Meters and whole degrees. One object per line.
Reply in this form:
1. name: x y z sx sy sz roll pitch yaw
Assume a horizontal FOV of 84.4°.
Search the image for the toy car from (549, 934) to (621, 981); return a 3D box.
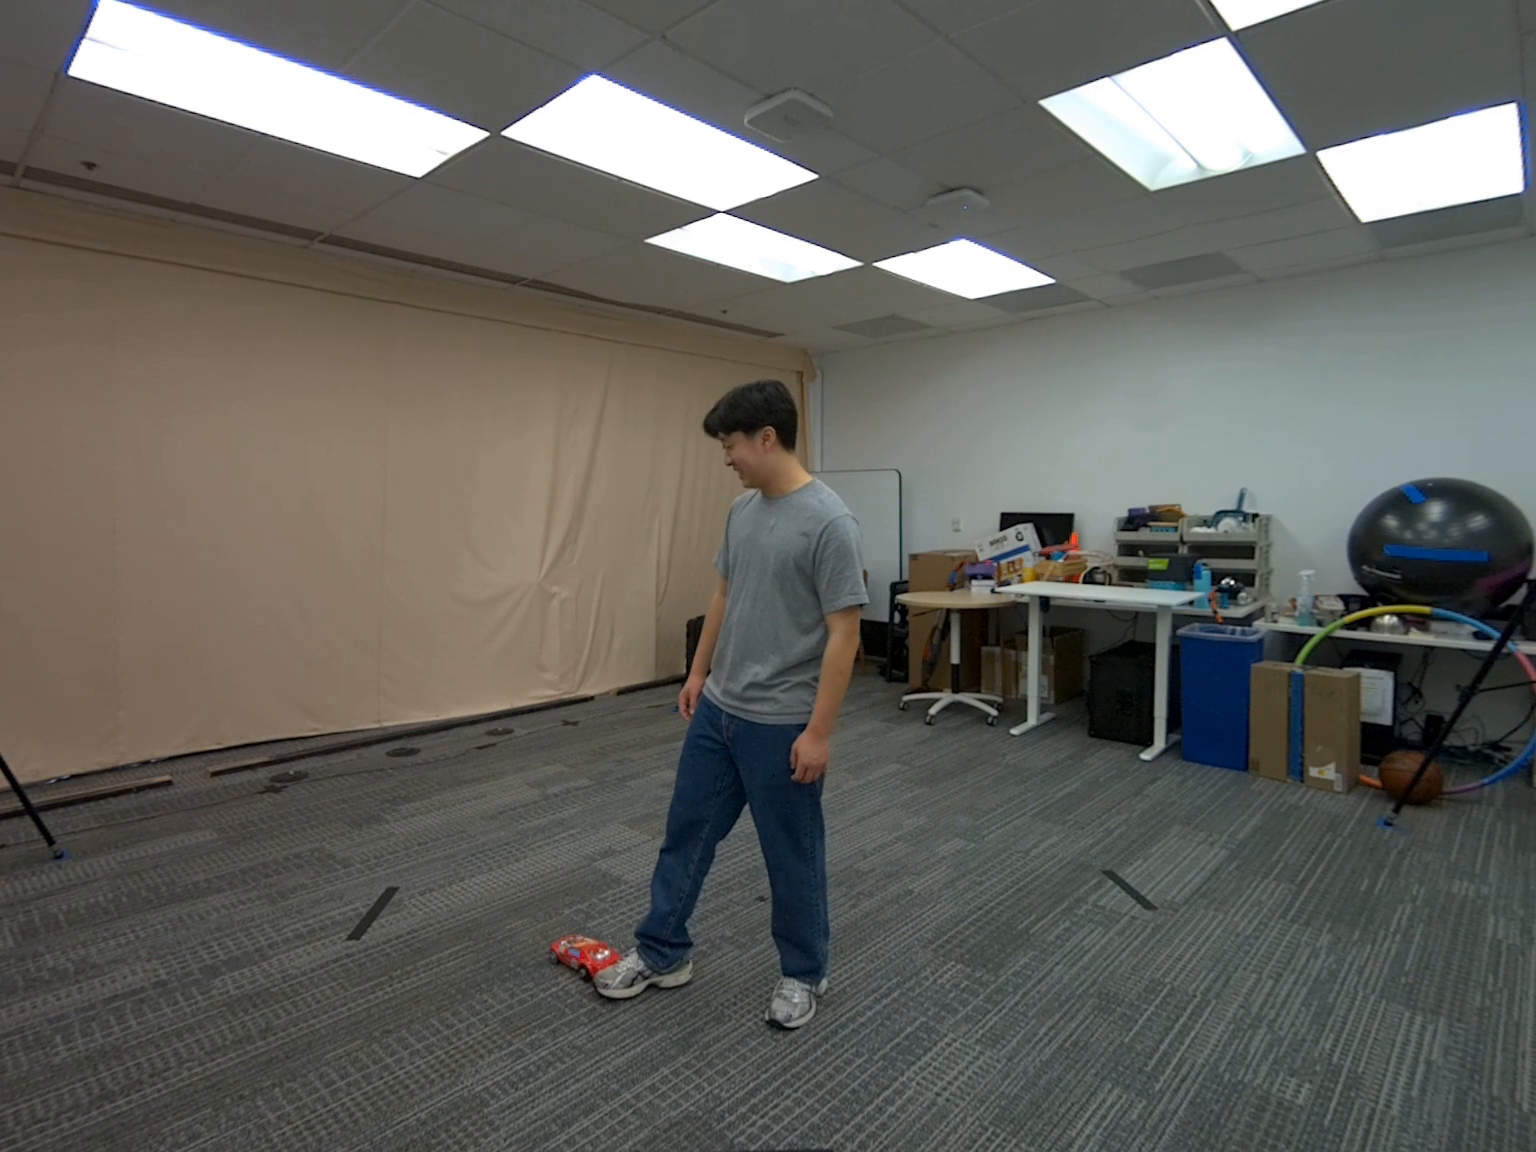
1. toy car: -0.545 1.154 2.531 0.261 0.083 0.126 -12 -5 40
